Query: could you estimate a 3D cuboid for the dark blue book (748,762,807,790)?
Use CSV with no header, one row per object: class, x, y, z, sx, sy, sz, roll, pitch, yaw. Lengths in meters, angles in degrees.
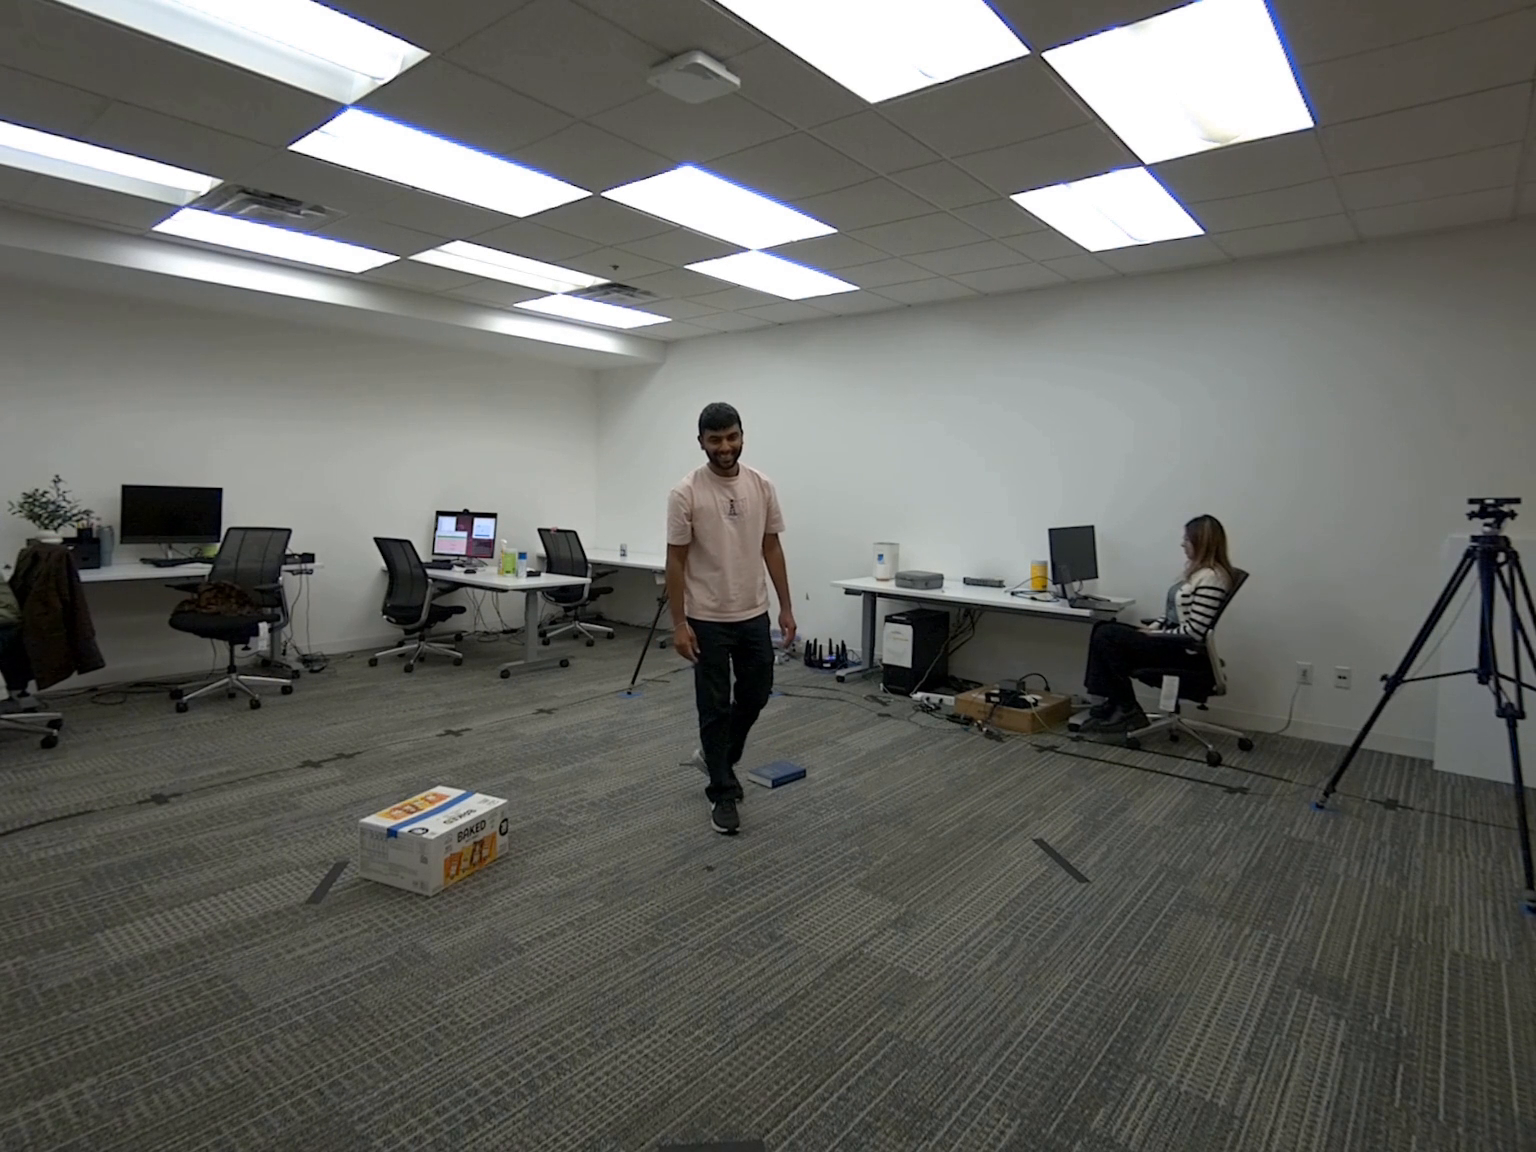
dark blue book,0.034,0.954,4.099,0.238,0.045,0.169,-6,8,-44
